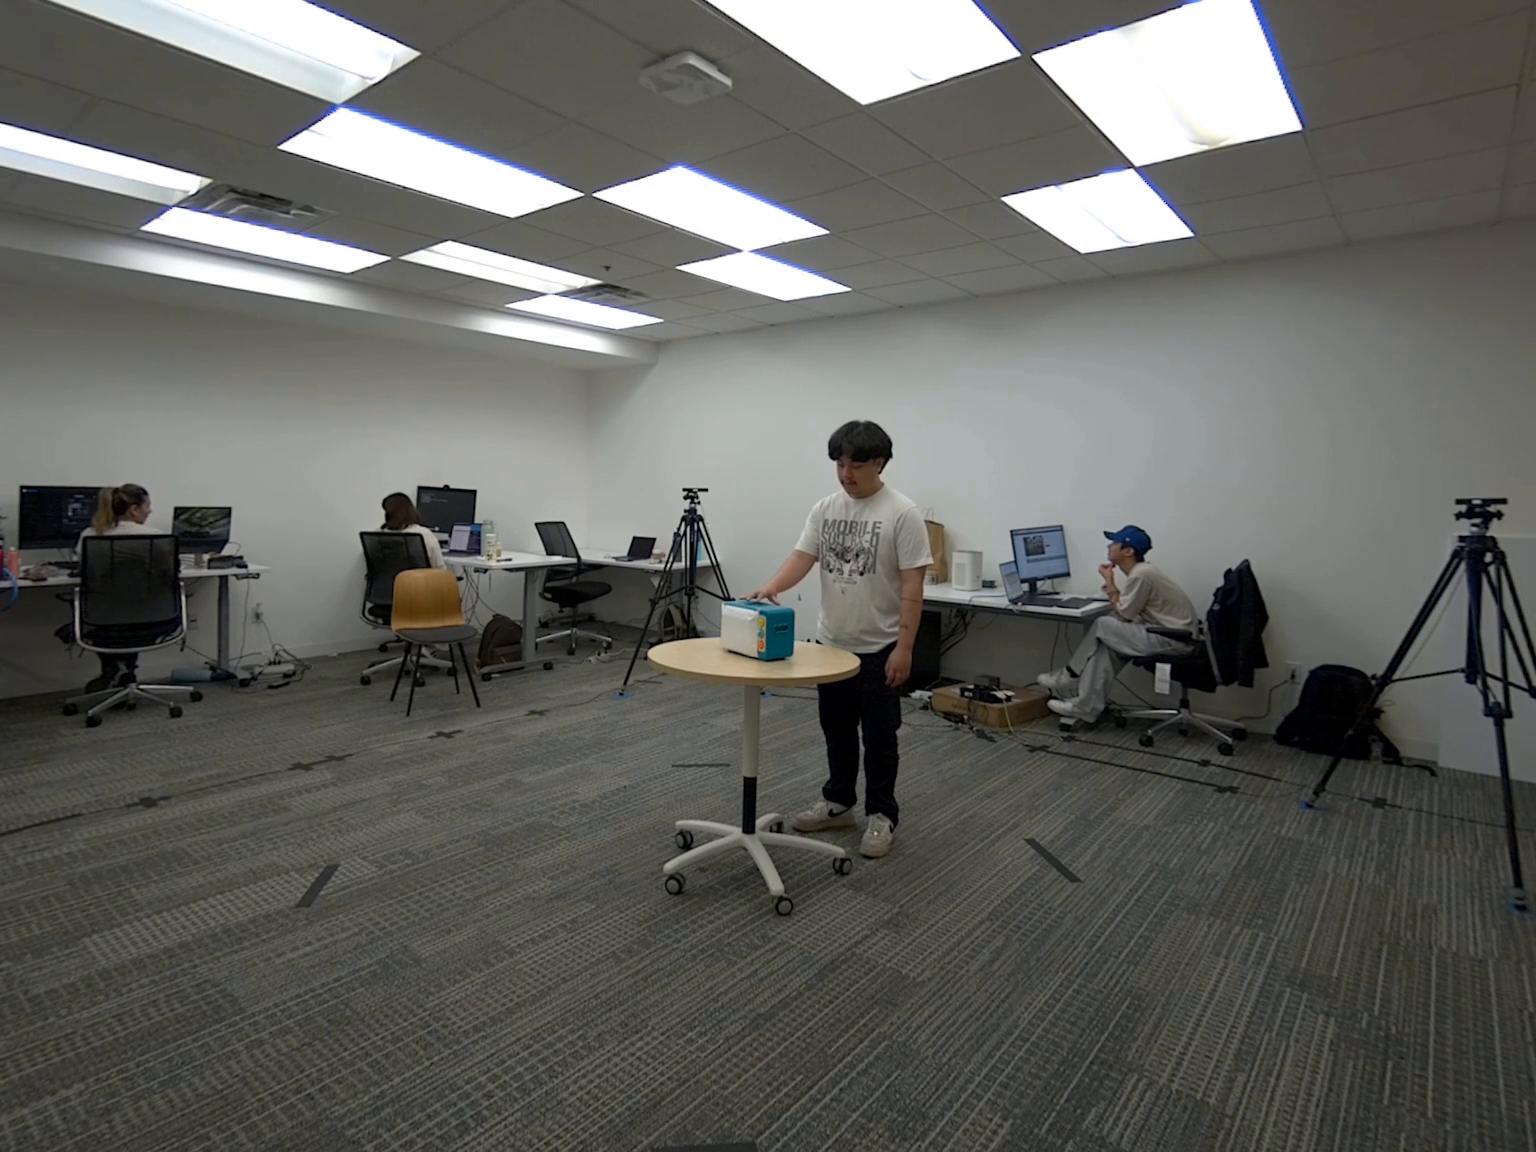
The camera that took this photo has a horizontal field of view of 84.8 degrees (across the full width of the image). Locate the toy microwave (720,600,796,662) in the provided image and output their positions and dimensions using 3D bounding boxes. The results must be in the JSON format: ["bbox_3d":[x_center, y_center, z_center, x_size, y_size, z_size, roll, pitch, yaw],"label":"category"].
[{"bbox_3d":[-0.055,0.189,3.081,0.148,0.183,0.296,-1,5,-37],"label":"toy microwave"}]
